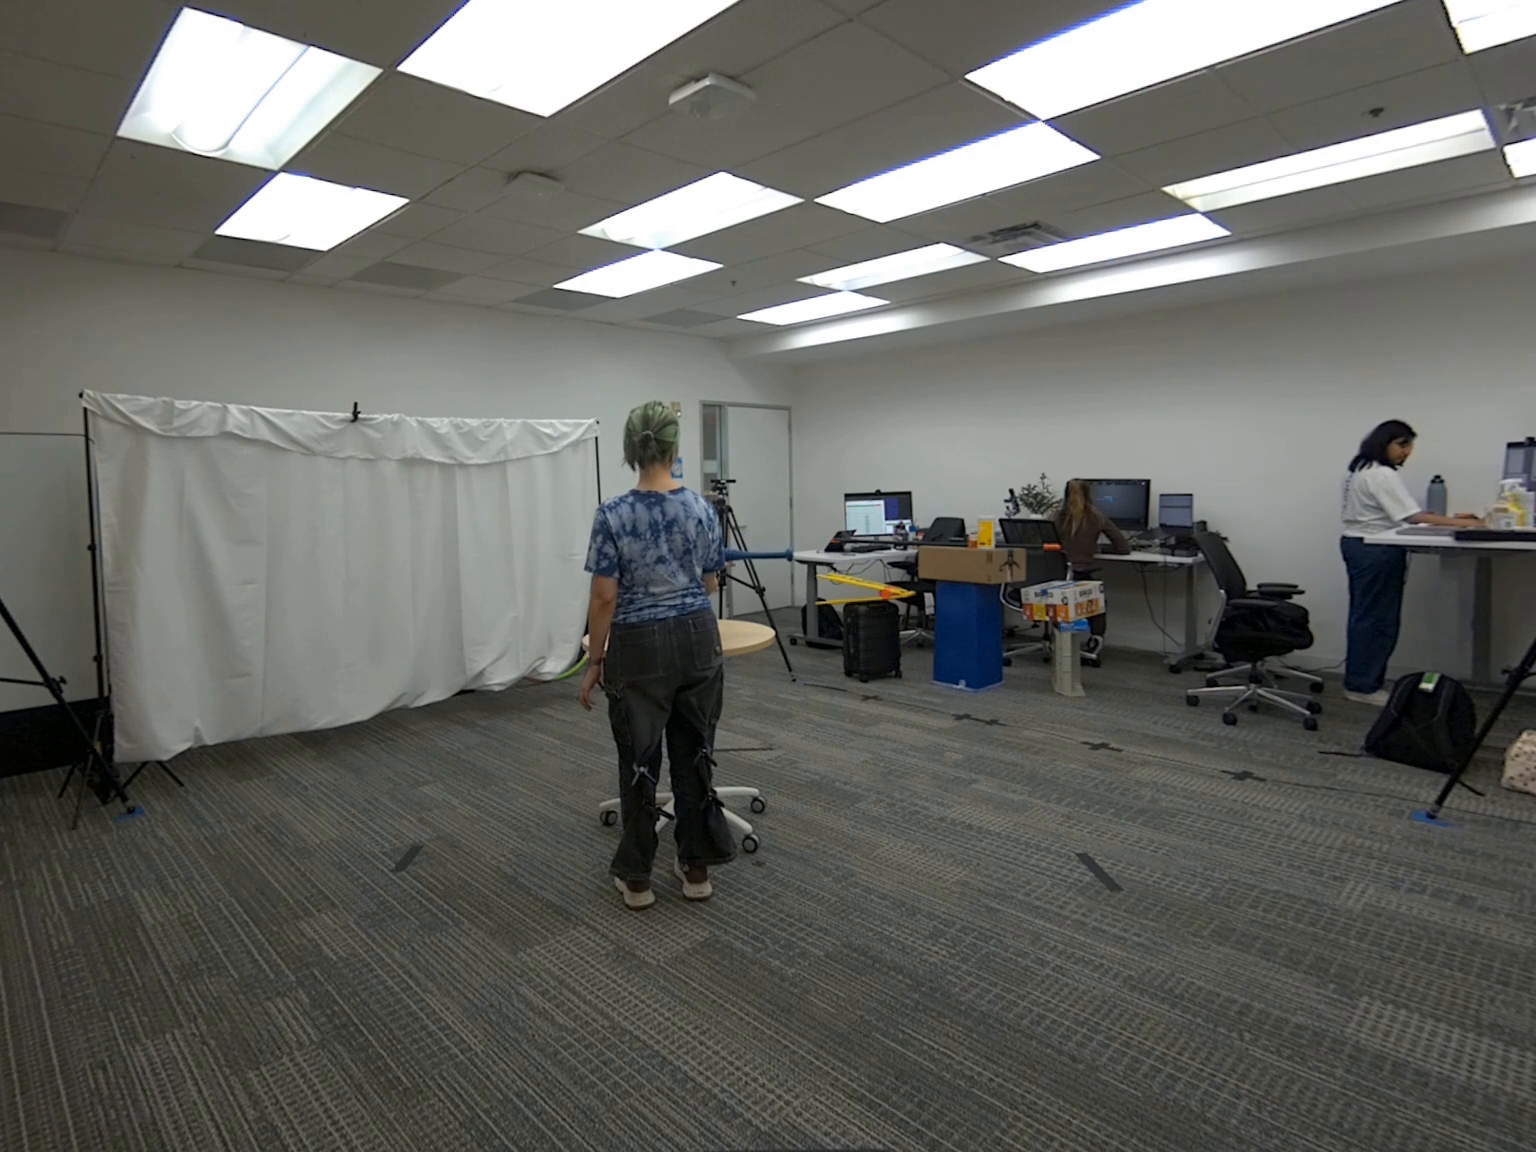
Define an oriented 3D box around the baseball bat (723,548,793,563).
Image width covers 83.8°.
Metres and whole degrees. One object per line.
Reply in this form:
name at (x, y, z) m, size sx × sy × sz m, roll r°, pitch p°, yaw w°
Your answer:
baseball bat at (-0.162, -0.074, 3.247) m, size 0.547 × 0.089 × 0.089 m, roll 0°, pitch 5°, yaw 8°
